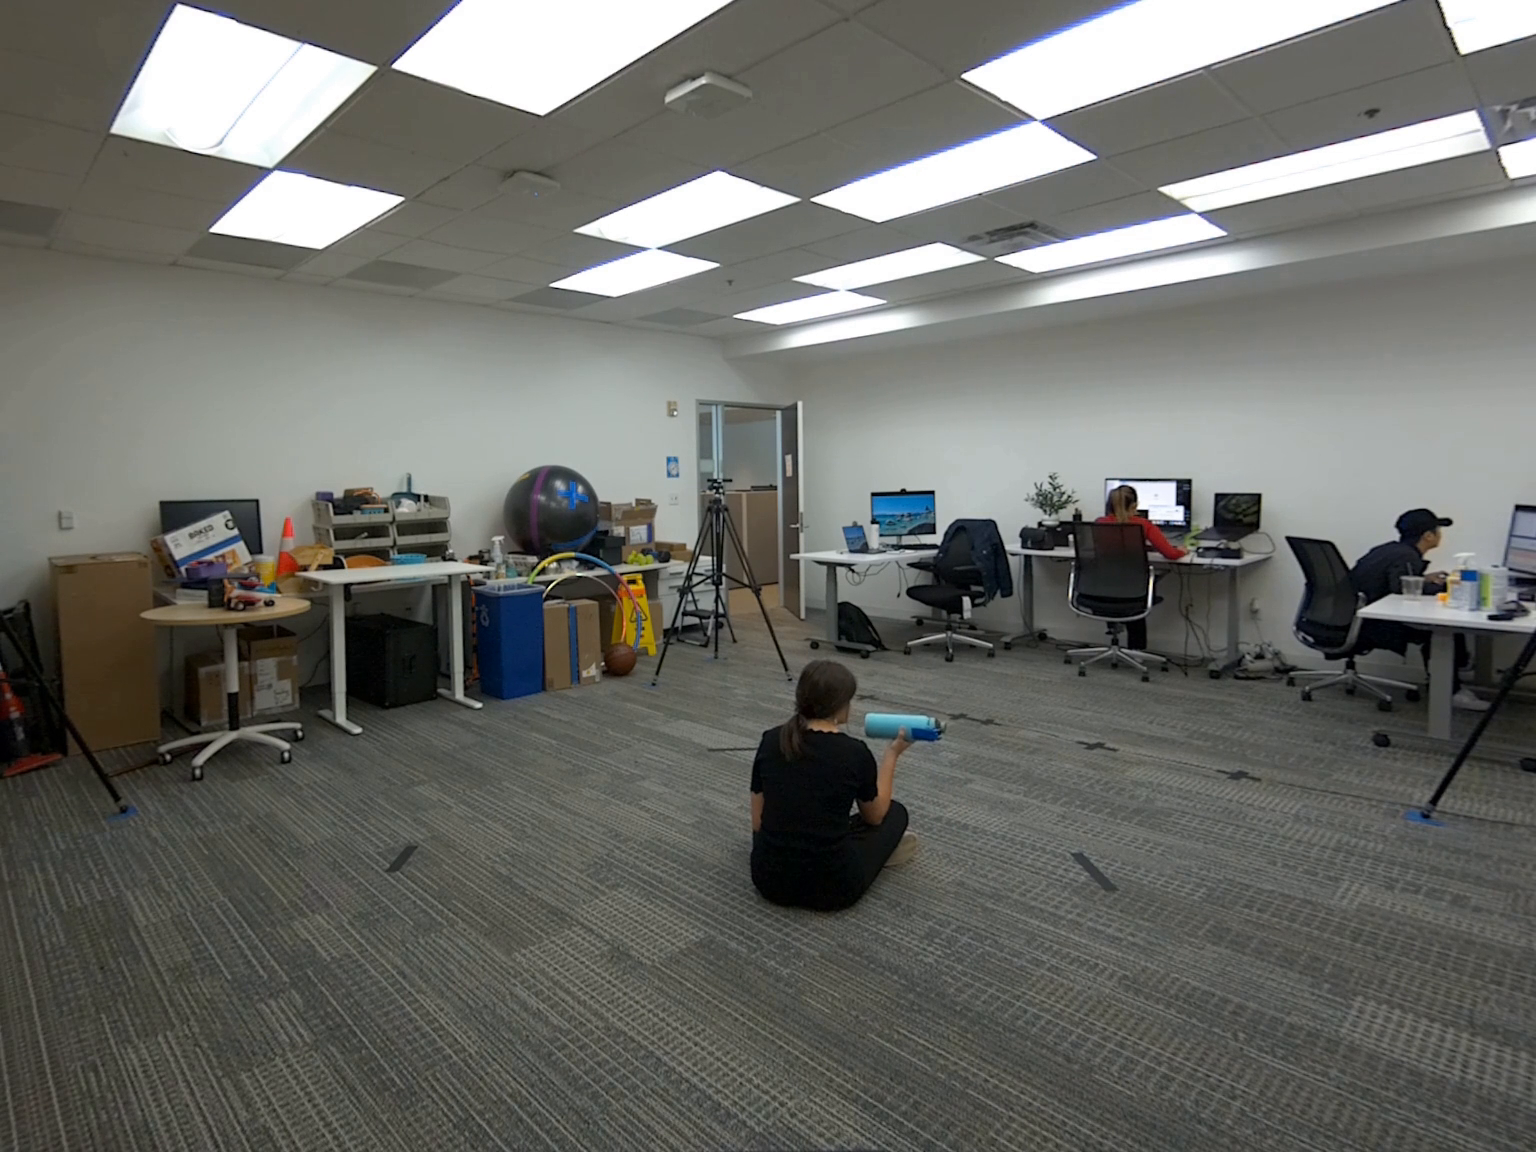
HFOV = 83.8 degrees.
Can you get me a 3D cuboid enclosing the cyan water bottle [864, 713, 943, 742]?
[{"bbox_3d":[0.501,0.549,3.100,0.290,0.092,0.090,-1,4,26],"label":"cyan water bottle"}]
